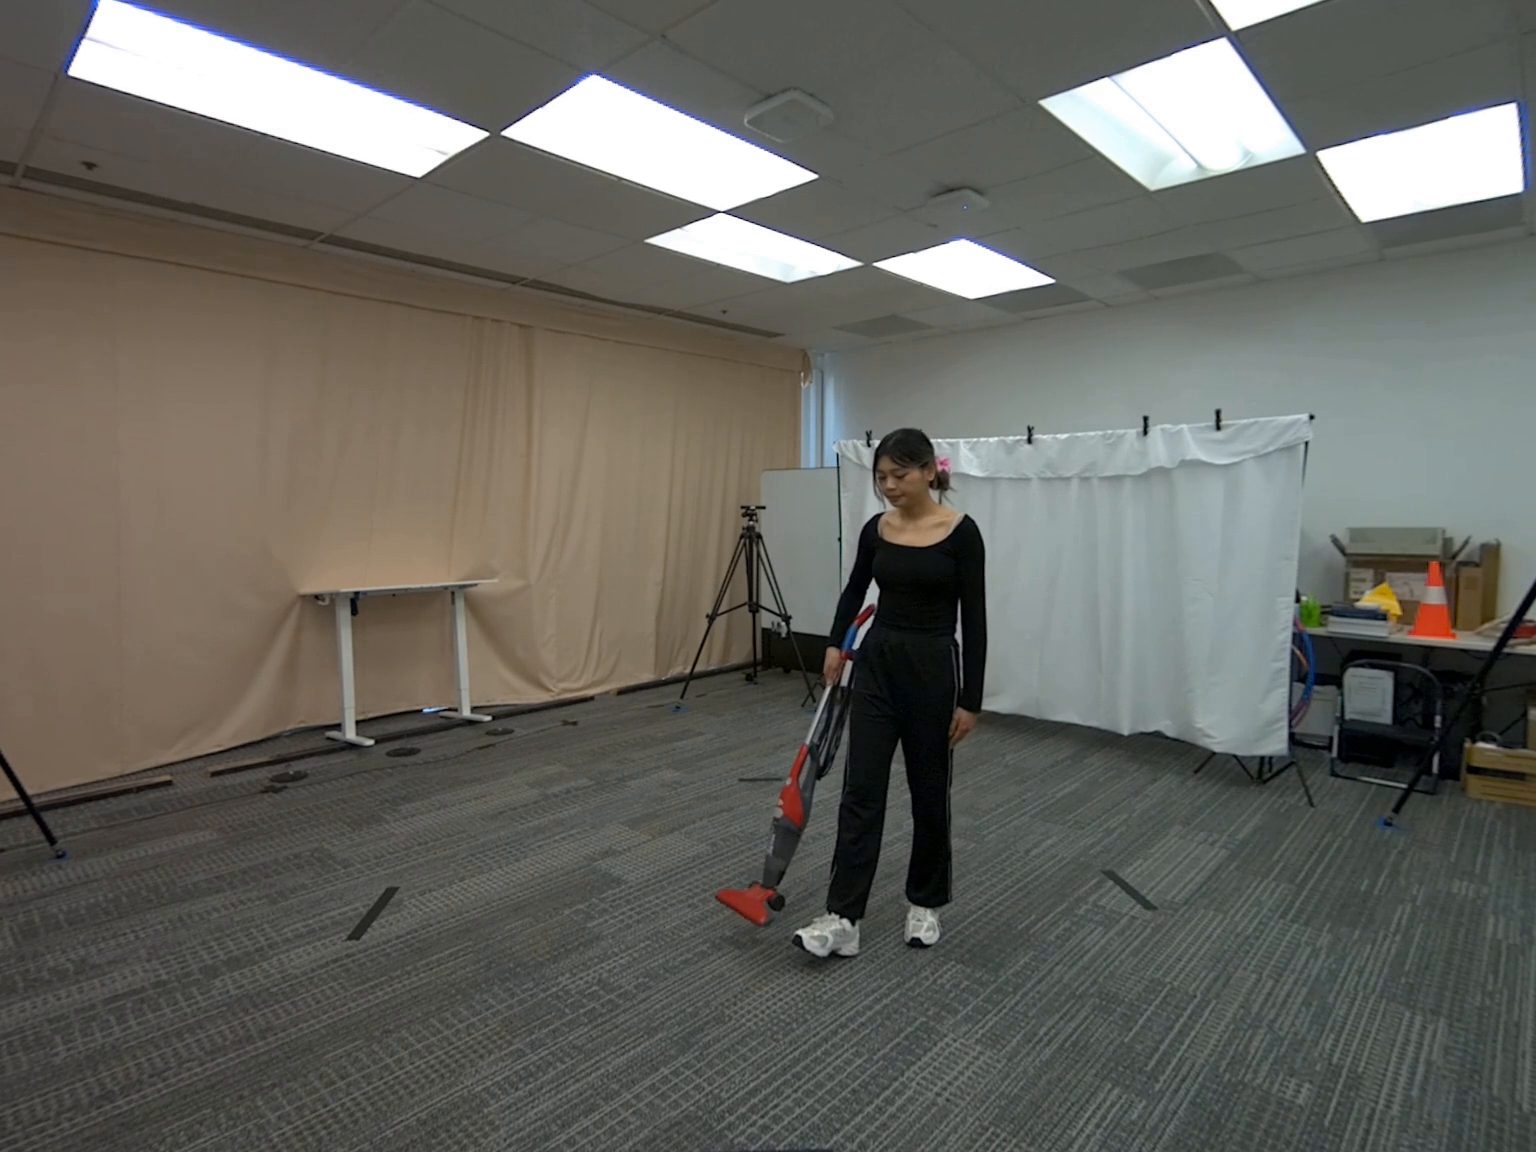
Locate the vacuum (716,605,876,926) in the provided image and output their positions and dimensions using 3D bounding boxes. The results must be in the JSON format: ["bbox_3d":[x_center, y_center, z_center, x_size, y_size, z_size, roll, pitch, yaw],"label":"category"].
[{"bbox_3d":[0.154,0.593,2.786,0.139,1.052,0.260,31,-18,-31],"label":"vacuum"}]
